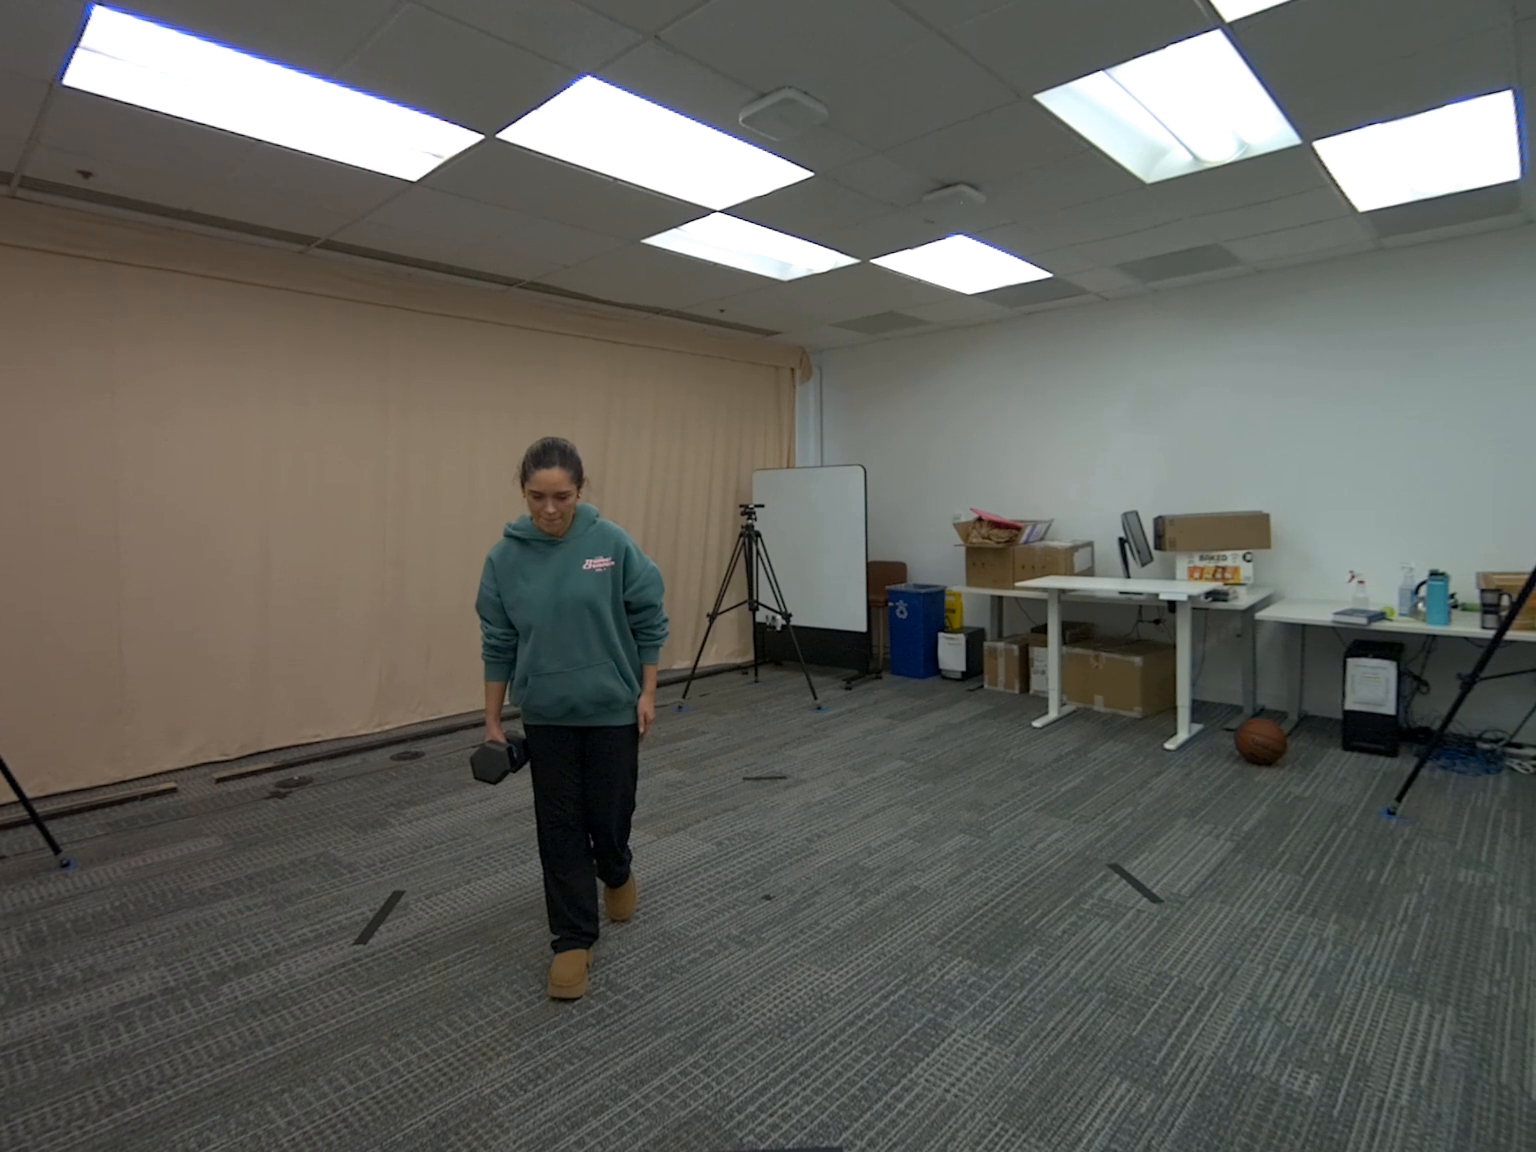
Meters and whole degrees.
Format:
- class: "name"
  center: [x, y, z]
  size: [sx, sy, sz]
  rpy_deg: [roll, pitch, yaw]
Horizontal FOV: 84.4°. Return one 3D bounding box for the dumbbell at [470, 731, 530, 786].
- class: "dumbbell"
  center: [-0.766, 0.530, 2.443]
  size: [0.108, 0.123, 0.293]
  rpy_deg: [-16, -4, -4]
